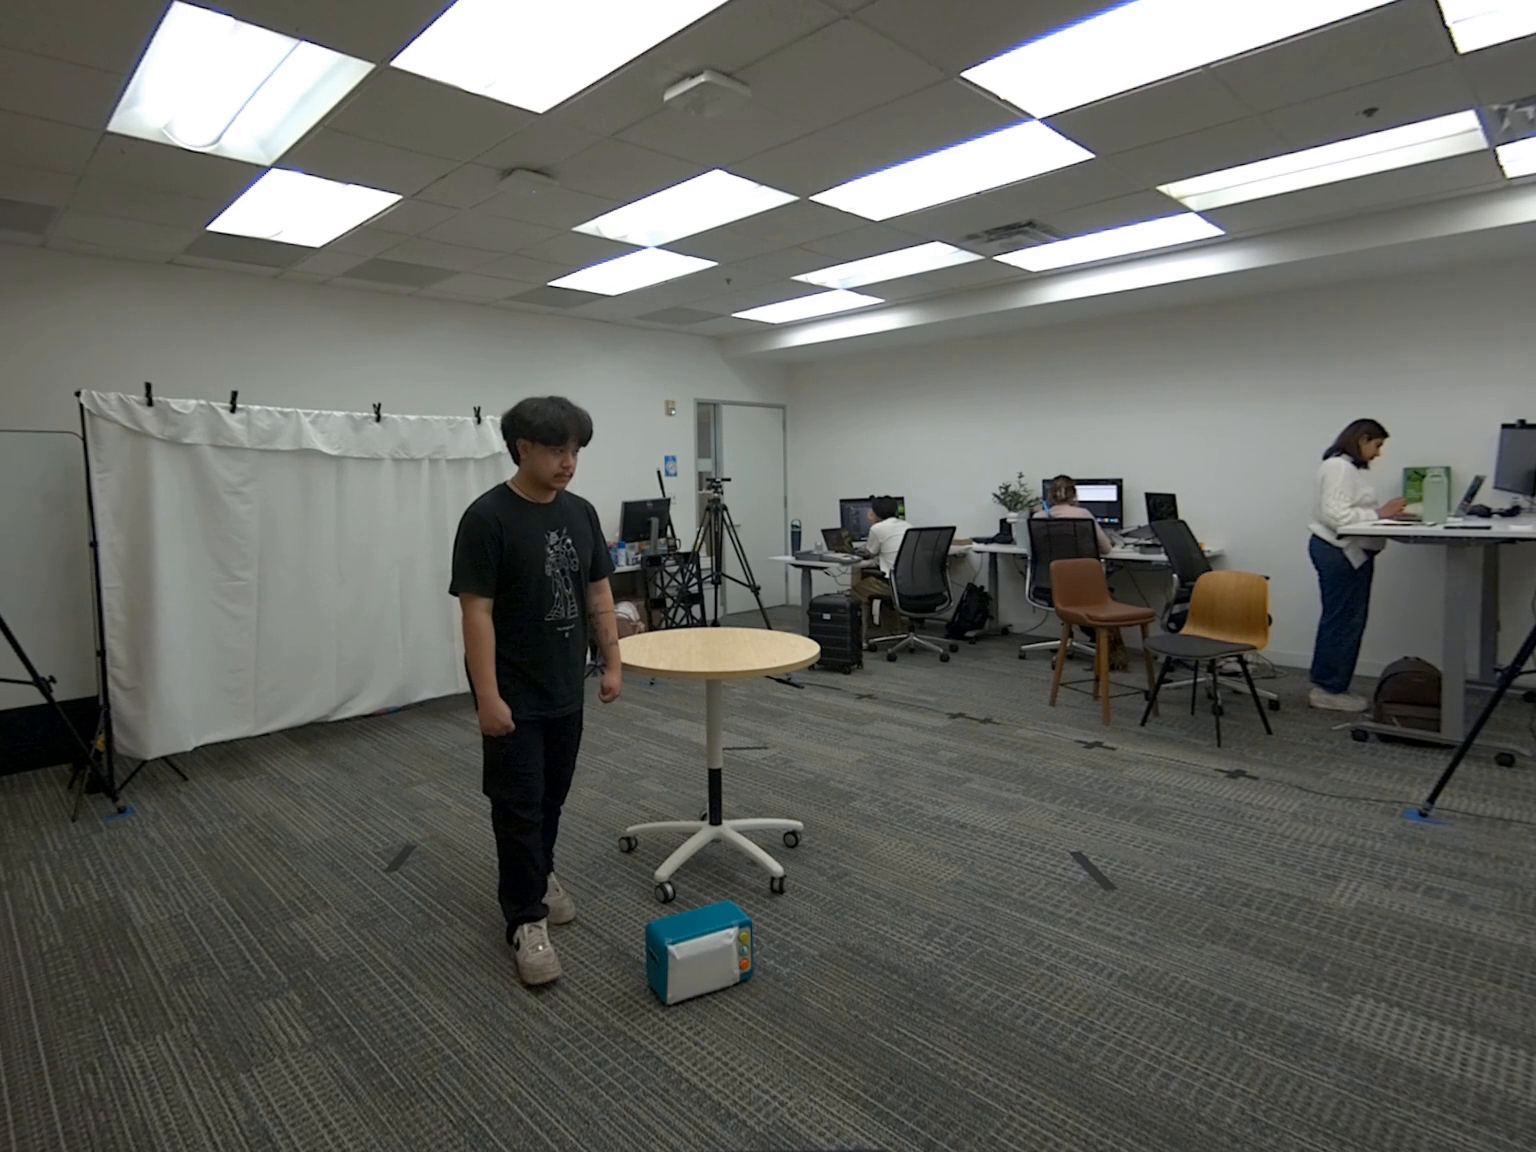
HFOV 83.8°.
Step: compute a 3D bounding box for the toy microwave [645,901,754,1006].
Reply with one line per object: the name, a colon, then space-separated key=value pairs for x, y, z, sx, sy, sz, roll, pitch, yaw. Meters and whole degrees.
toy microwave: x=-0.184 y=1.039 z=2.365 sx=0.280 sy=0.183 sz=0.156 roll=-4 pitch=6 yaw=-28
